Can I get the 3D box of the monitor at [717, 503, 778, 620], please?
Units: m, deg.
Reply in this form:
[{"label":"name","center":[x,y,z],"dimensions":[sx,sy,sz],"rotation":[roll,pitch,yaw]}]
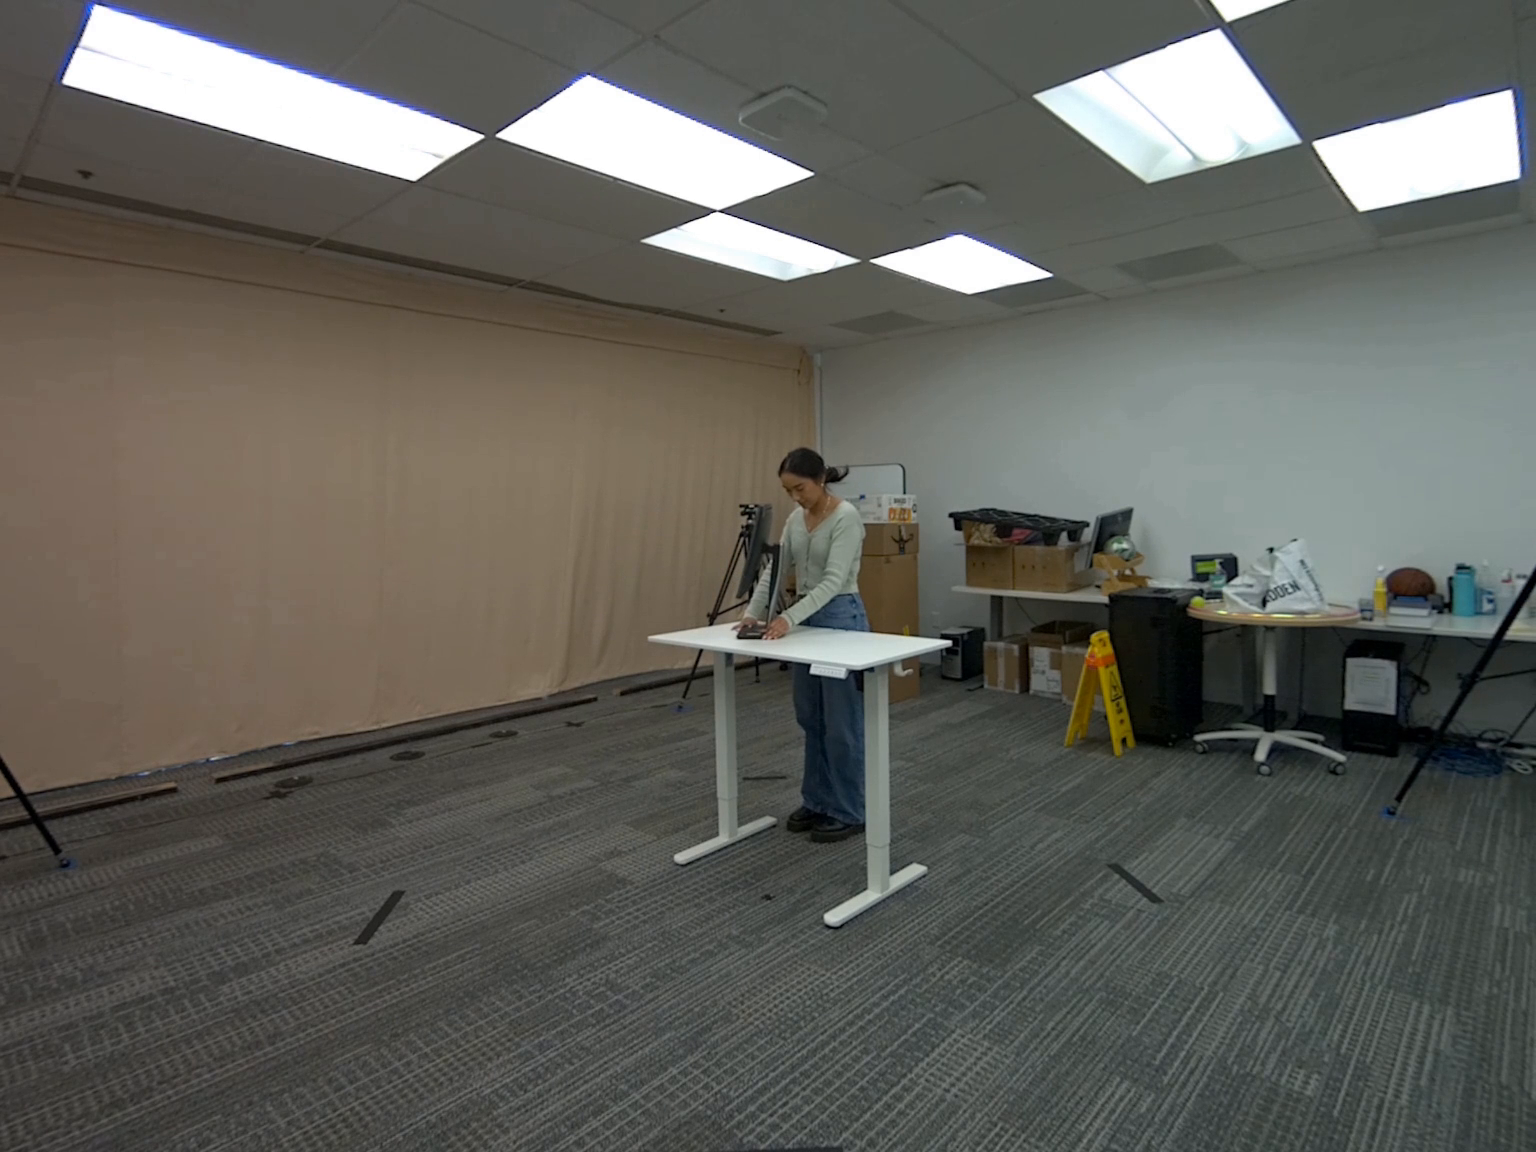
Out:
[{"label":"monitor","center":[-0.025,-0.026,3.314],"dimensions":[0.176,0.514,0.528],"rotation":[-4,5,5]}]
